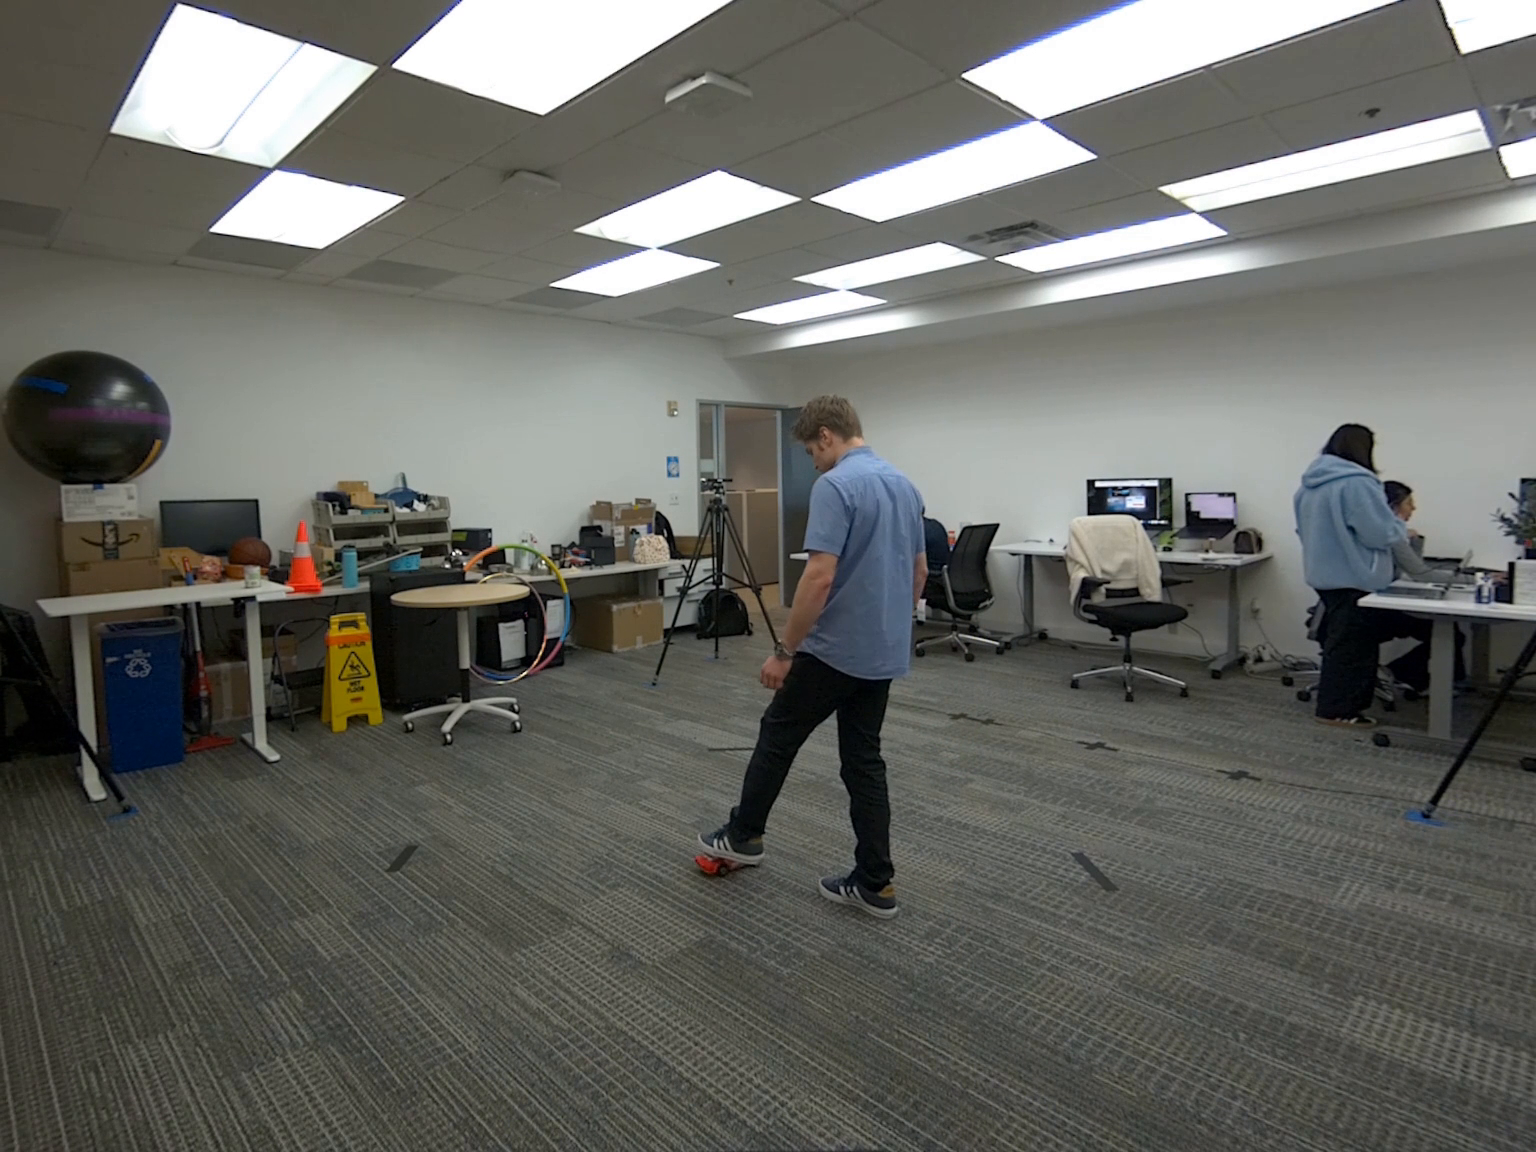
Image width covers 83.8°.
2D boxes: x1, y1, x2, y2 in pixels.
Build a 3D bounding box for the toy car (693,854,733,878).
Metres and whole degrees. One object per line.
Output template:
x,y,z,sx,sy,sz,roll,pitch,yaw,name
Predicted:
-0.139,1.017,3.079,0.247,0.083,0.134,7,1,-33,toy car
